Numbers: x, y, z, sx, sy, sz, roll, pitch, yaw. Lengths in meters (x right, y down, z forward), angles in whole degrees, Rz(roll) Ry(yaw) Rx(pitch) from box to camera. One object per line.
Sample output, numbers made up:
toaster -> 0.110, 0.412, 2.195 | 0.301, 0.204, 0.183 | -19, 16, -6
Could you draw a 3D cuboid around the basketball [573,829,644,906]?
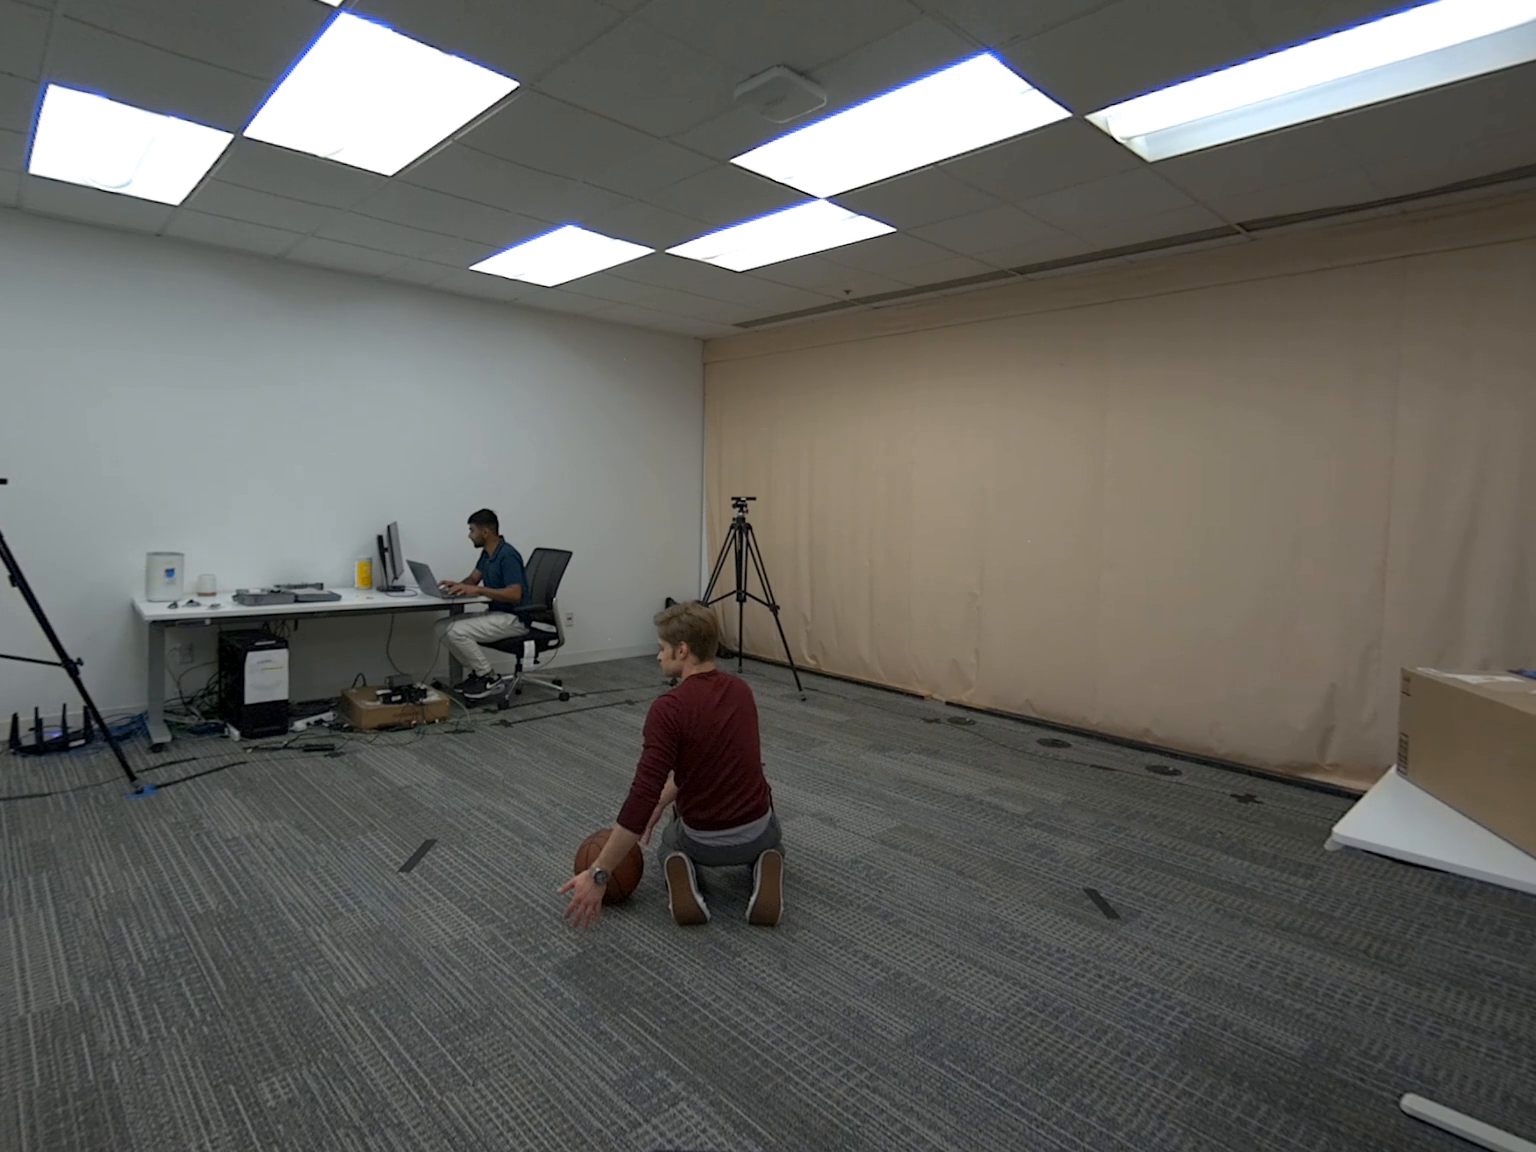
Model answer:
basketball -> -0.549, 0.992, 2.905 | 0.236, 0.235, 0.237 | 1, 4, -1
